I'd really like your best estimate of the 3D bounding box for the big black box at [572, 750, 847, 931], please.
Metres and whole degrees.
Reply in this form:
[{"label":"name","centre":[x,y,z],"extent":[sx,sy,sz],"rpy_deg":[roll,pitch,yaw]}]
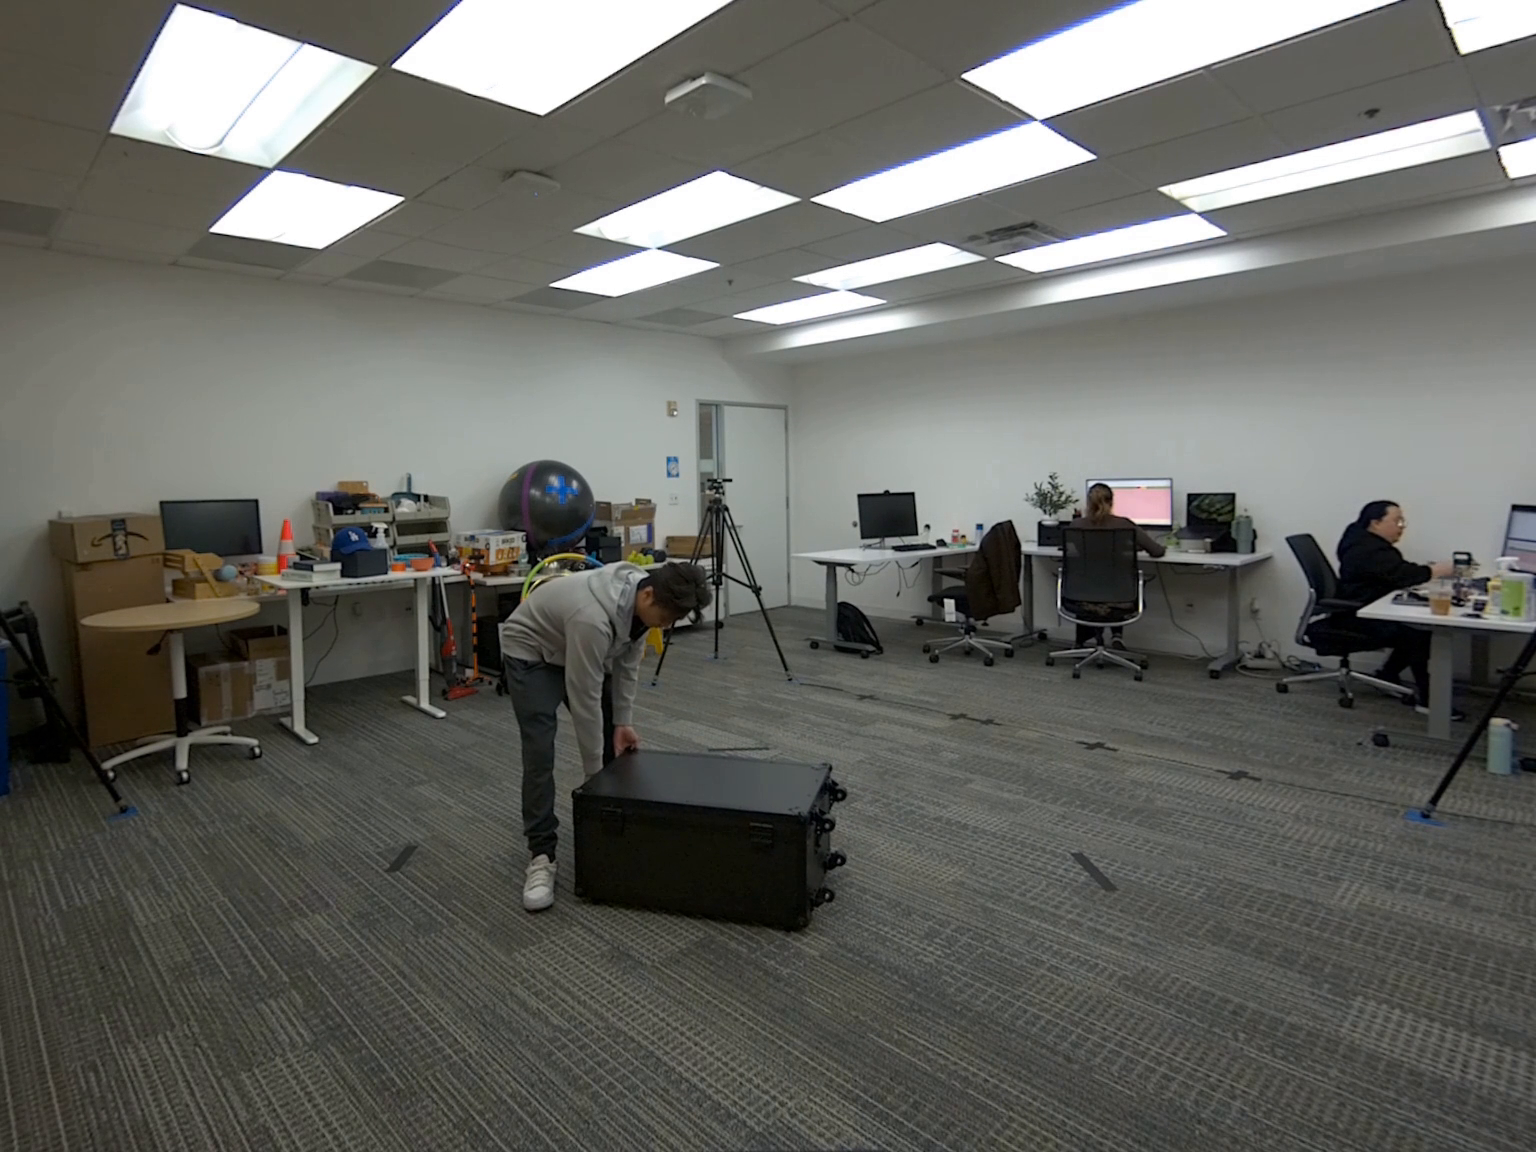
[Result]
[{"label":"big black box","centre":[-0.176,0.873,2.921],"extent":[0.874,0.394,0.516],"rpy_deg":[0,6,15]}]
